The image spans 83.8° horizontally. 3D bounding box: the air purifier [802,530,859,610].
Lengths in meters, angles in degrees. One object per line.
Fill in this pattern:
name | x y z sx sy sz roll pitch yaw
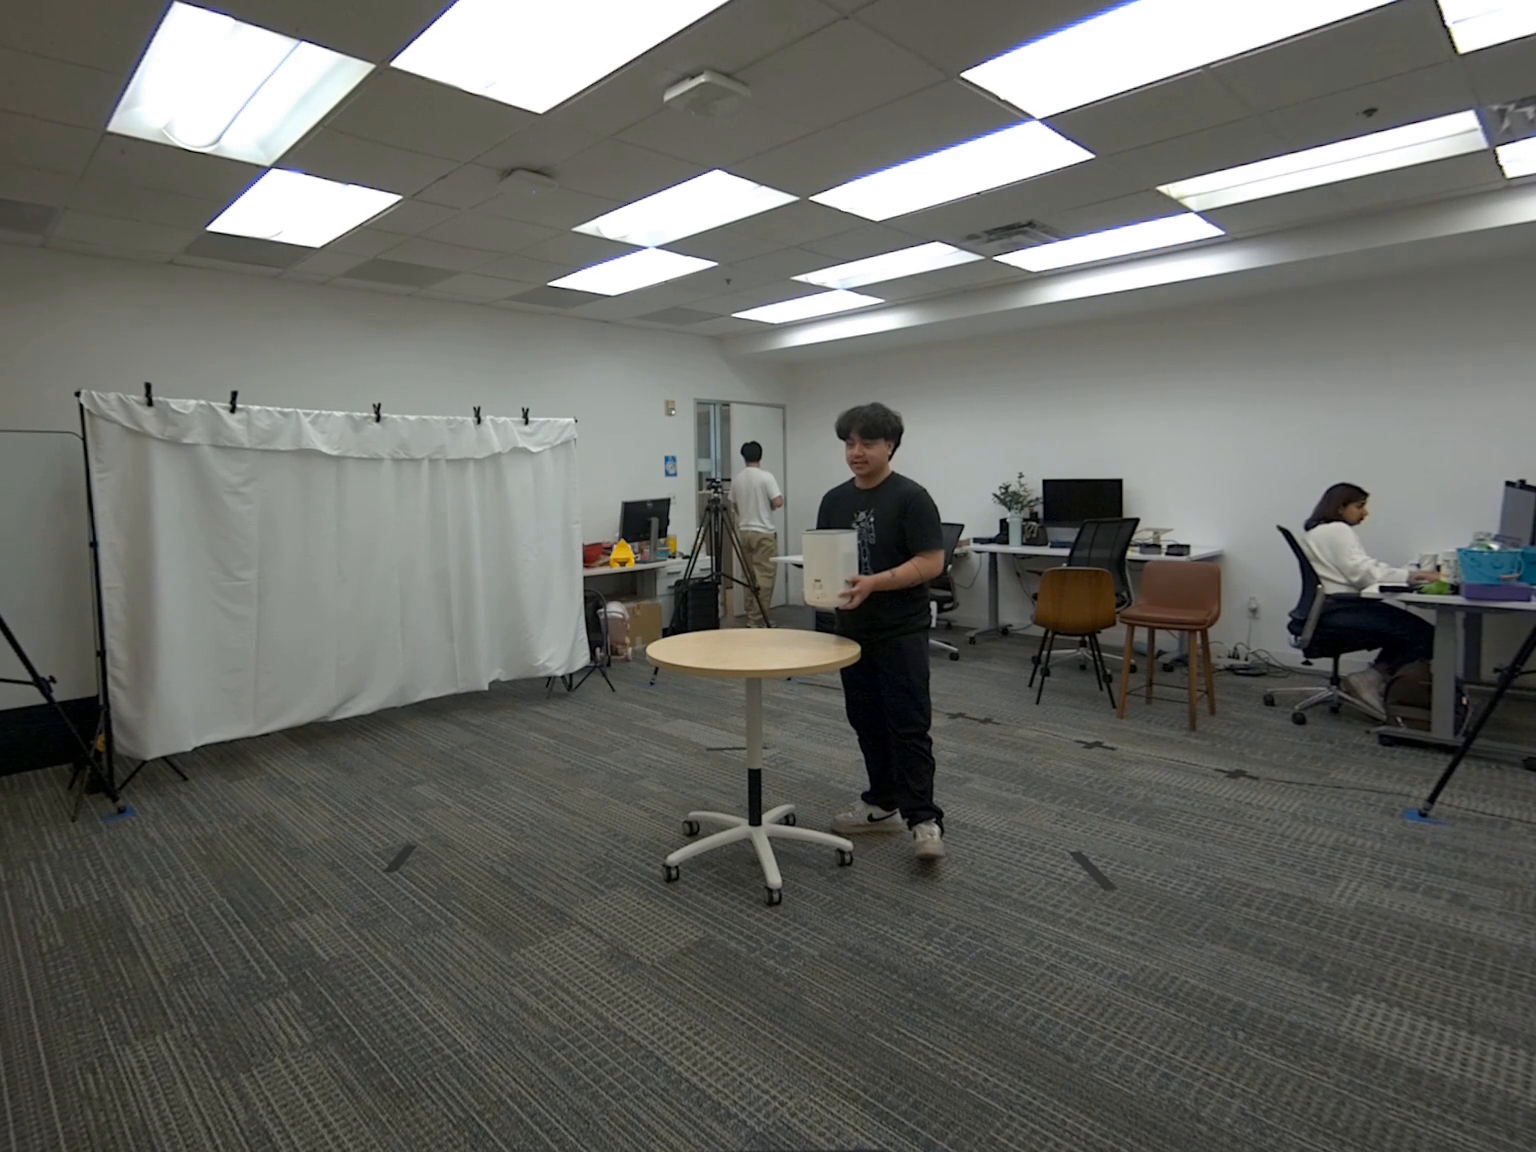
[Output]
air purifier | 0.235 -0.031 3.088 0.176 0.264 0.167 2 7 36
